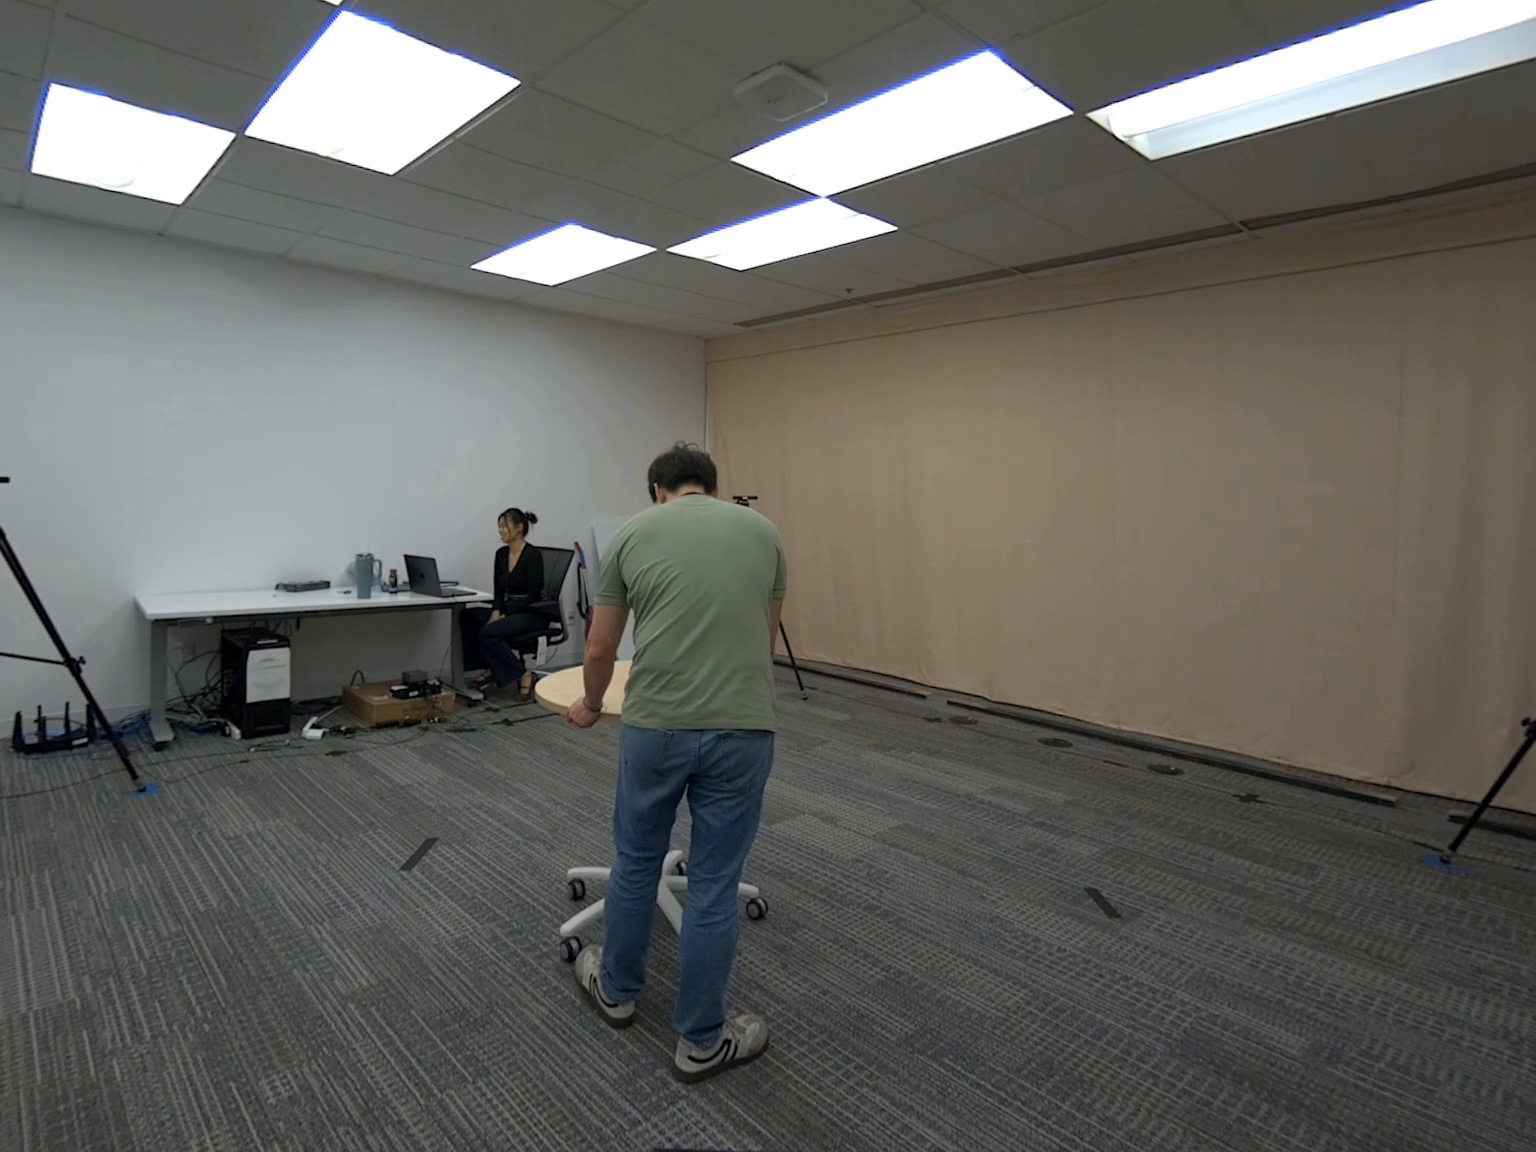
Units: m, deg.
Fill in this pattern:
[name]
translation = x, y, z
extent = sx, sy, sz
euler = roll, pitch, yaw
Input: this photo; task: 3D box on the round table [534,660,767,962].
[round table]
translation = -0.367, 0.746, 2.745
extent = 0.763, 0.792, 0.767
euler = 1, 4, -1
